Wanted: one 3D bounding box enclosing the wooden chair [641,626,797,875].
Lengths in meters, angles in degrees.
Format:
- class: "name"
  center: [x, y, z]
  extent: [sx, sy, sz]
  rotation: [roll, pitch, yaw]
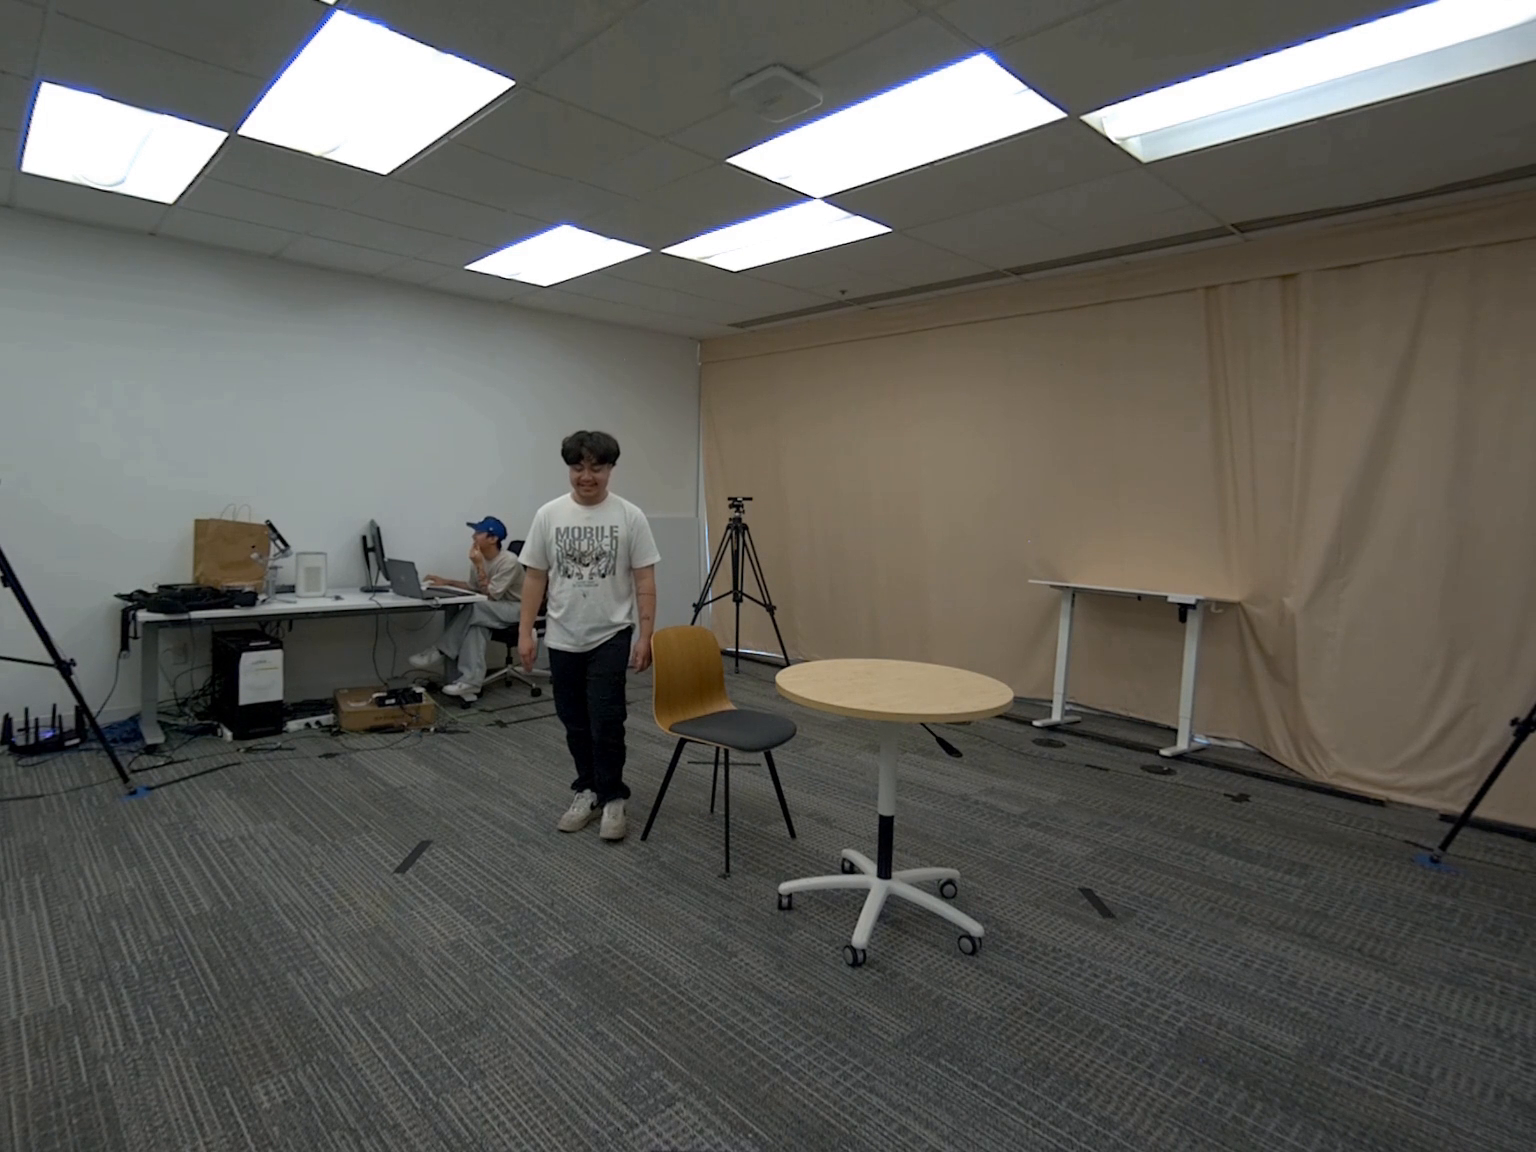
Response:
- class: "wooden chair"
  center: [-0.191, 0.651, 3.405]
  extent: [0.535, 0.877, 0.467]
  rotation: [-2, 0, 38]
